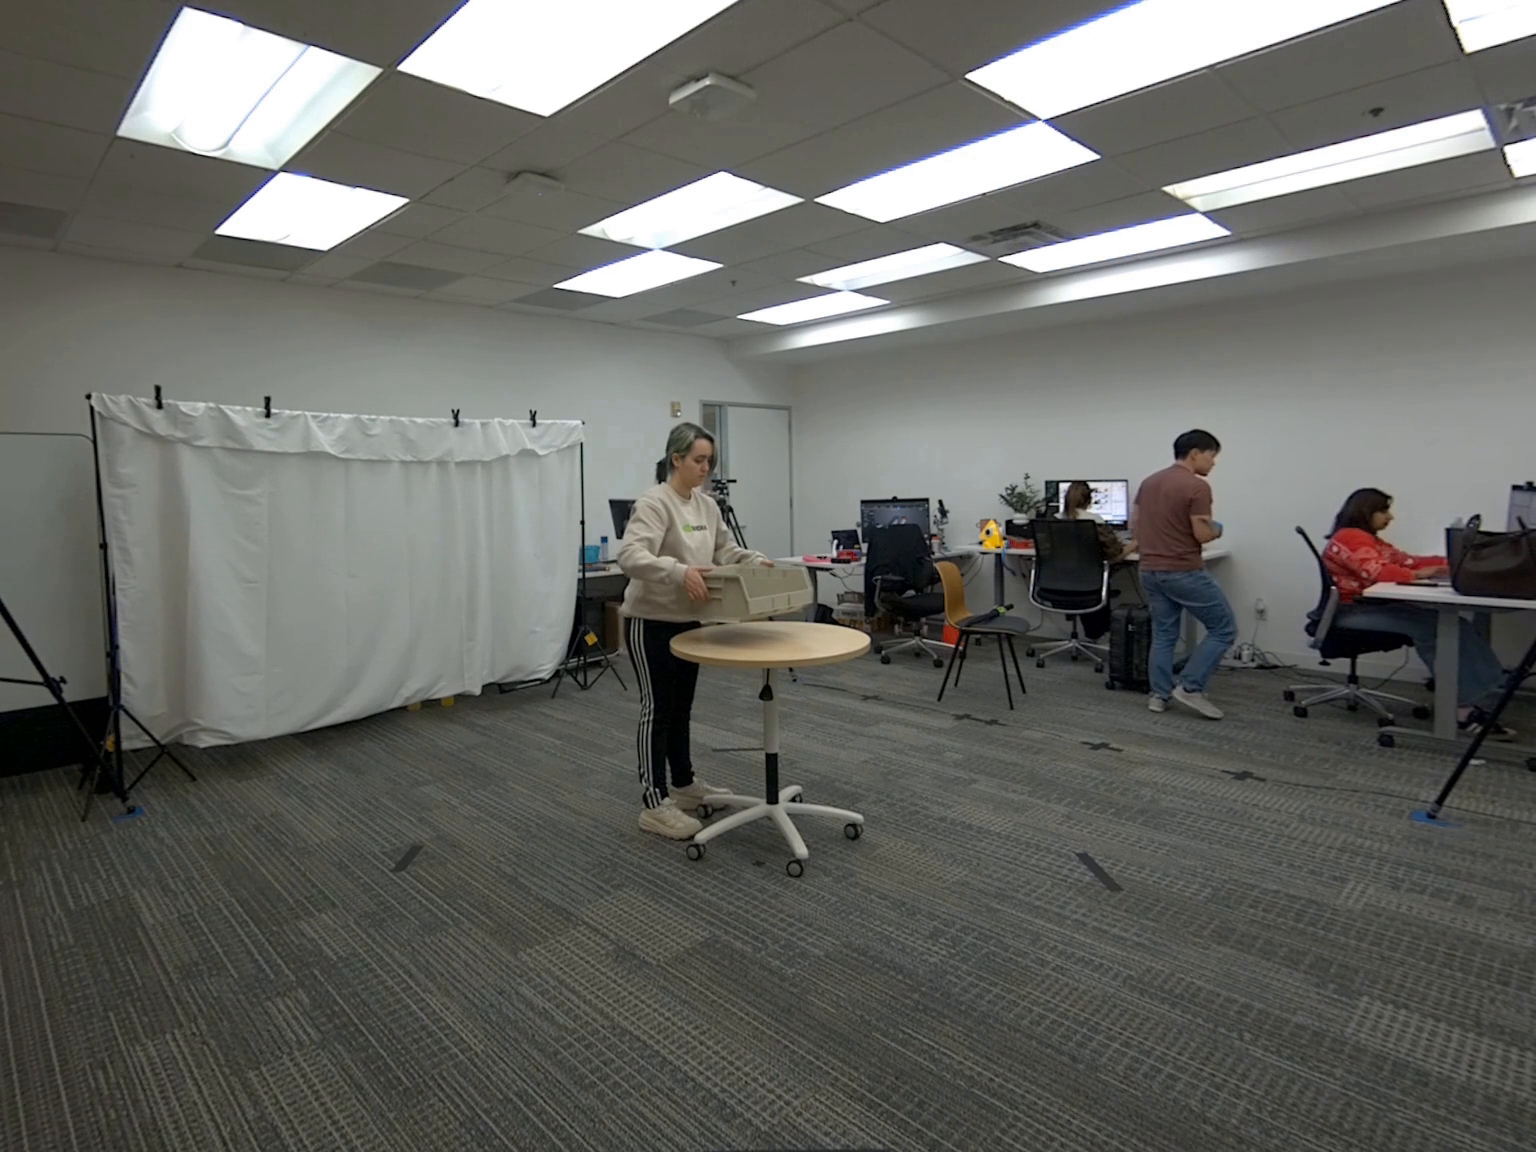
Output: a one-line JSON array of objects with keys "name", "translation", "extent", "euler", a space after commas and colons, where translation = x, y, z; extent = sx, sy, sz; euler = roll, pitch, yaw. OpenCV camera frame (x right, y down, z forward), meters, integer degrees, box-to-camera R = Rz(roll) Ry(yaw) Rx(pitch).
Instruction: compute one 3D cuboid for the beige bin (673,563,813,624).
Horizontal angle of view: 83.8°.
[{"name": "beige bin", "translation": [-0.095, 0.058, 3.309], "extent": [0.388, 0.188, 0.412], "euler": [-1, 5, 38]}]
